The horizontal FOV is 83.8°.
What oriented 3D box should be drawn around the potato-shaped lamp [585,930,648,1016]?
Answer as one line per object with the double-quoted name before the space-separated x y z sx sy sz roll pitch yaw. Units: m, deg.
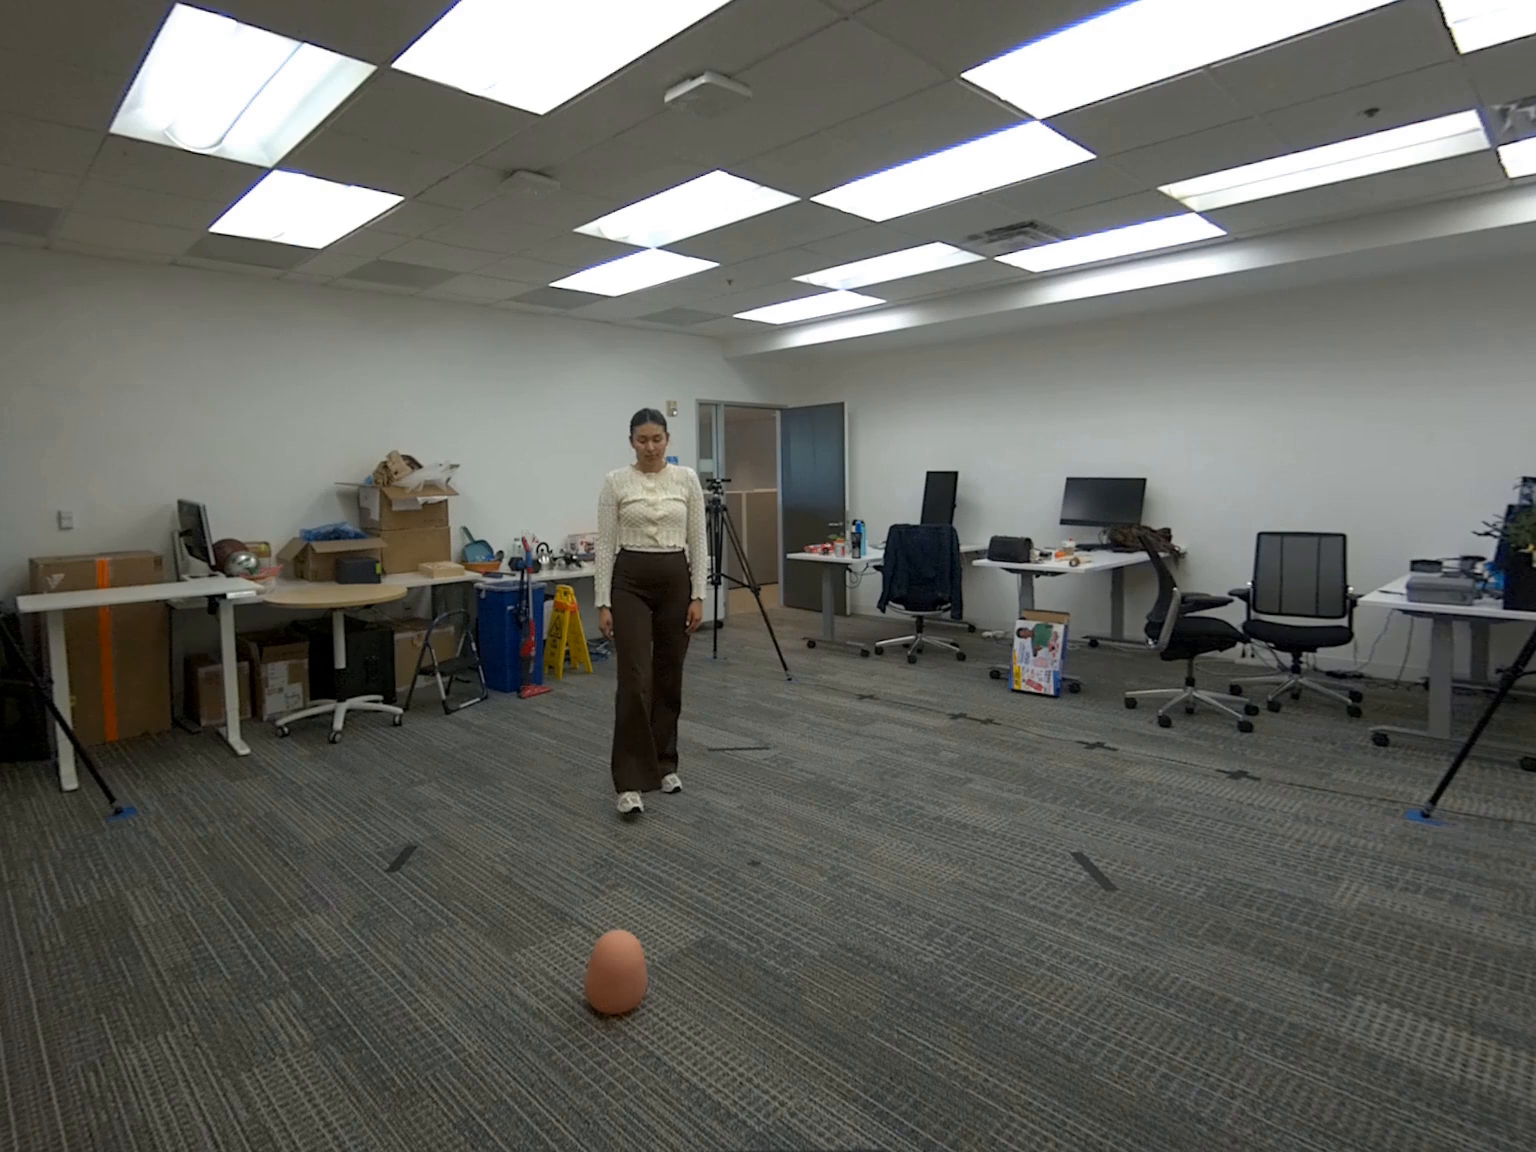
"potato-shaped lamp" -0.397 1.047 2.285 0.160 0.197 0.176 -2 5 -33
